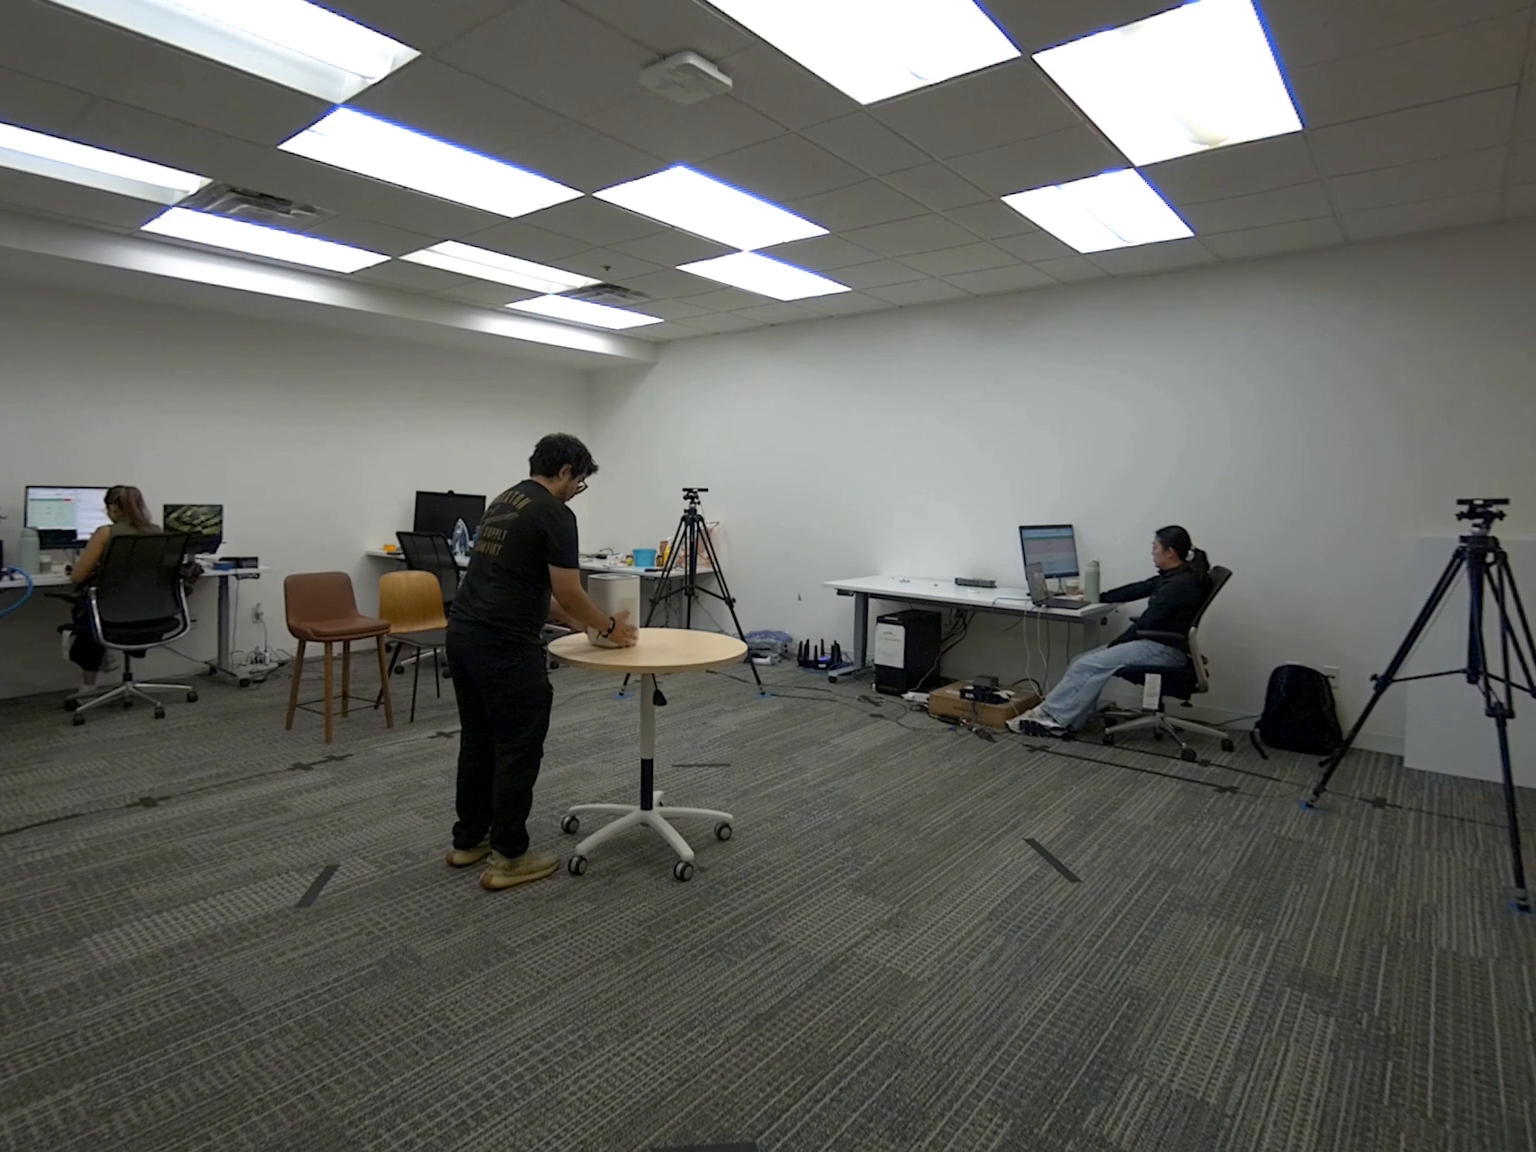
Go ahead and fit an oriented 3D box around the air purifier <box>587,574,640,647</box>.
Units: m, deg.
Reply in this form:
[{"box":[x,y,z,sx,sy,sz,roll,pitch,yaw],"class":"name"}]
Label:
[{"box":[-0.612,0.131,3.283,0.176,0.265,0.166,3,3,36],"class":"air purifier"}]
